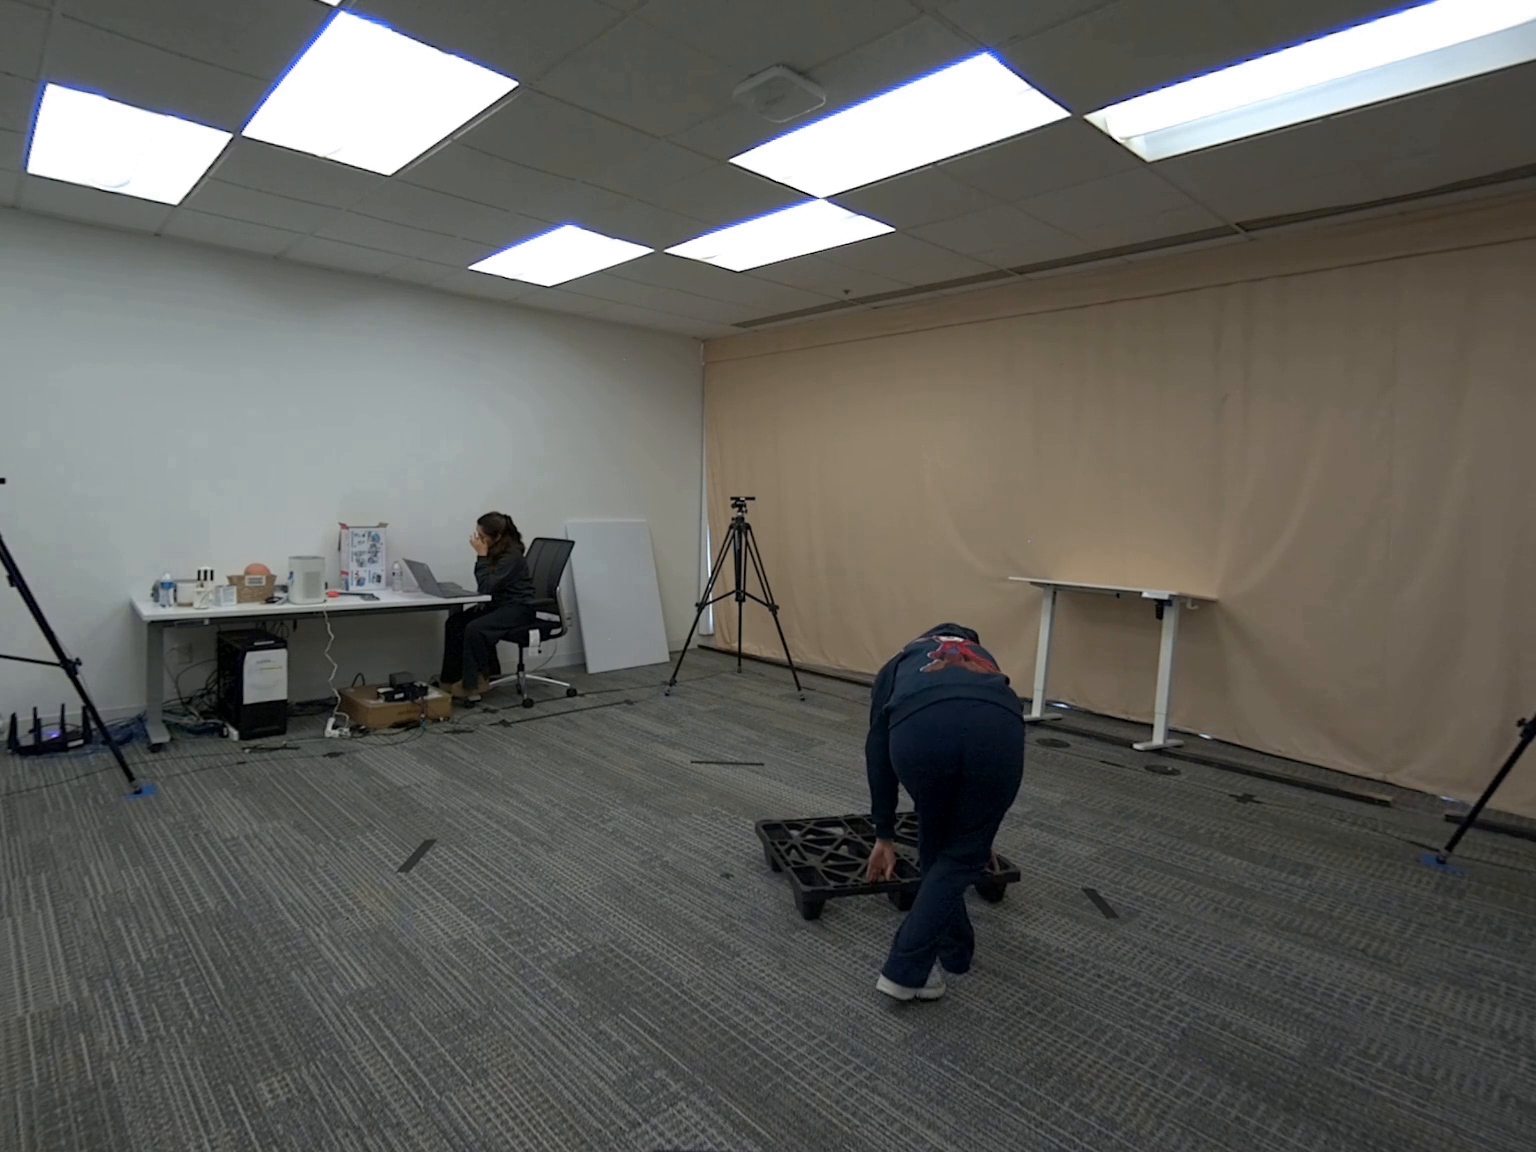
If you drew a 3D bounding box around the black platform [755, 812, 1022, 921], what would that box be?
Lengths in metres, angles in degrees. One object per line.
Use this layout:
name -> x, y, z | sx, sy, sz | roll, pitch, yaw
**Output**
black platform -> 0.406, 1.052, 3.094 | 0.796, 0.143, 0.614 | 0, 6, -15
